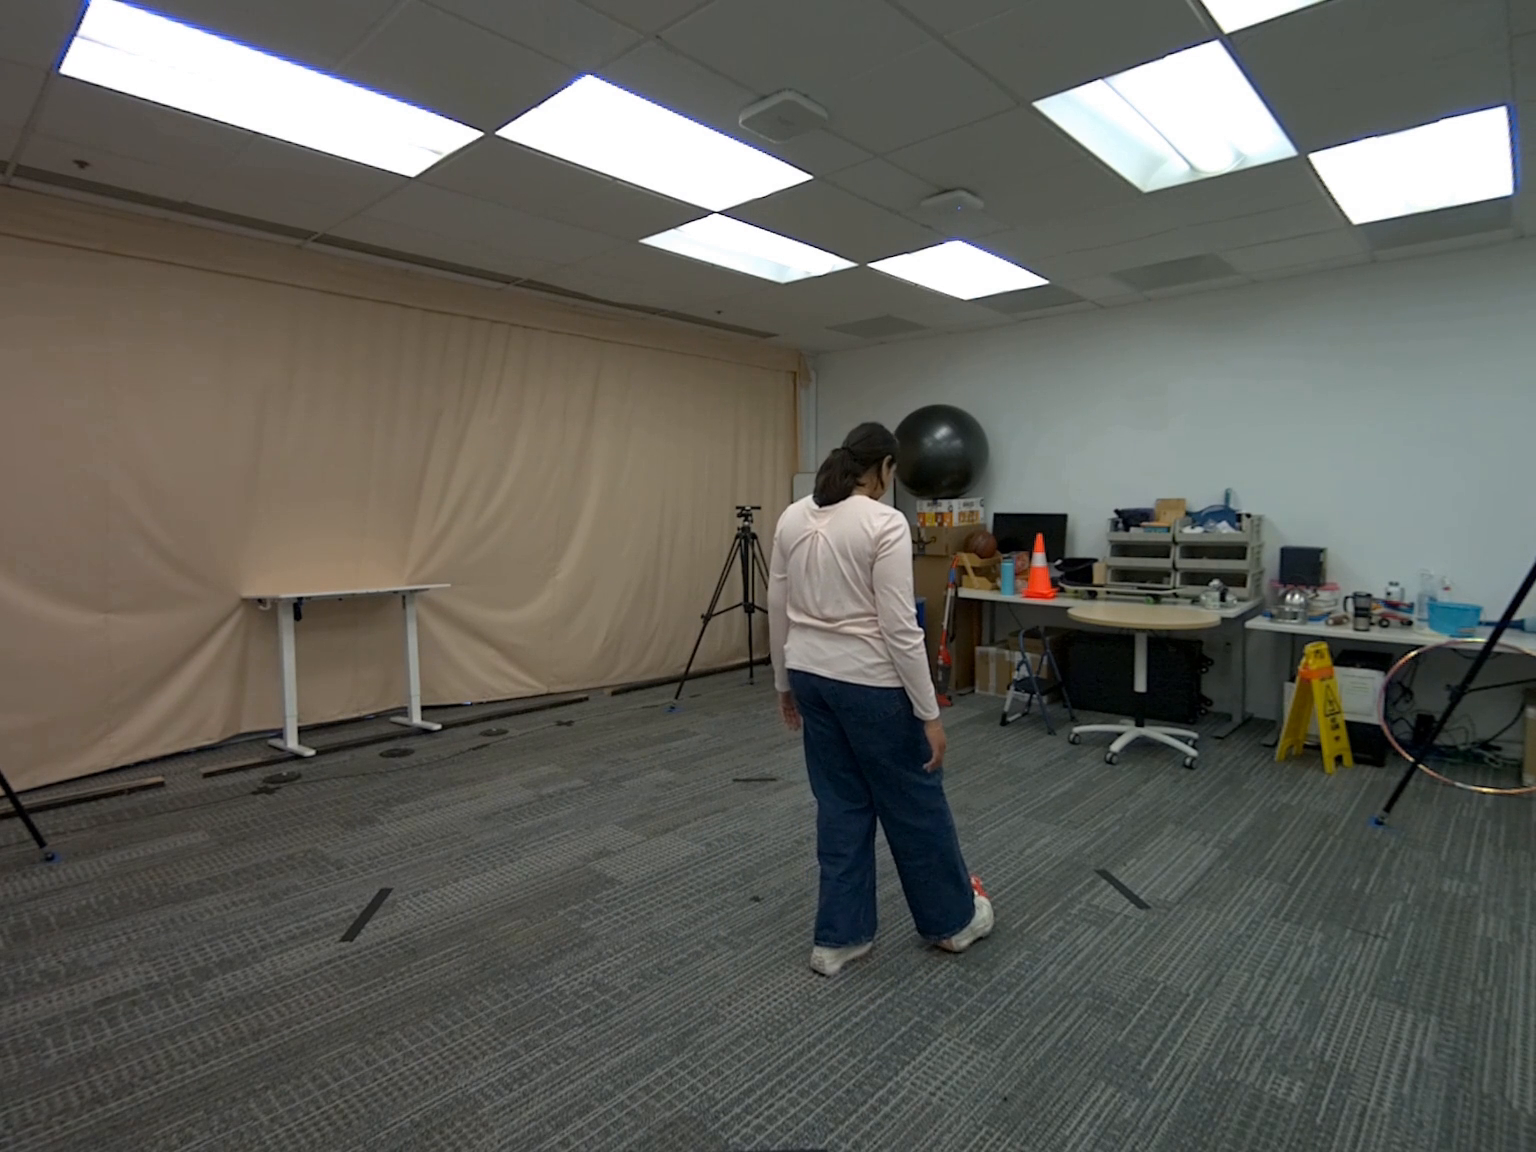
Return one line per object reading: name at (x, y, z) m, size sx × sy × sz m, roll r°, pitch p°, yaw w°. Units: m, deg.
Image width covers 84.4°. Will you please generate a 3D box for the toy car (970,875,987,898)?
toy car at (0.712, 1.114, 2.954) m, size 0.131 × 0.084 × 0.251 m, roll 0°, pitch -8°, yaw 5°
